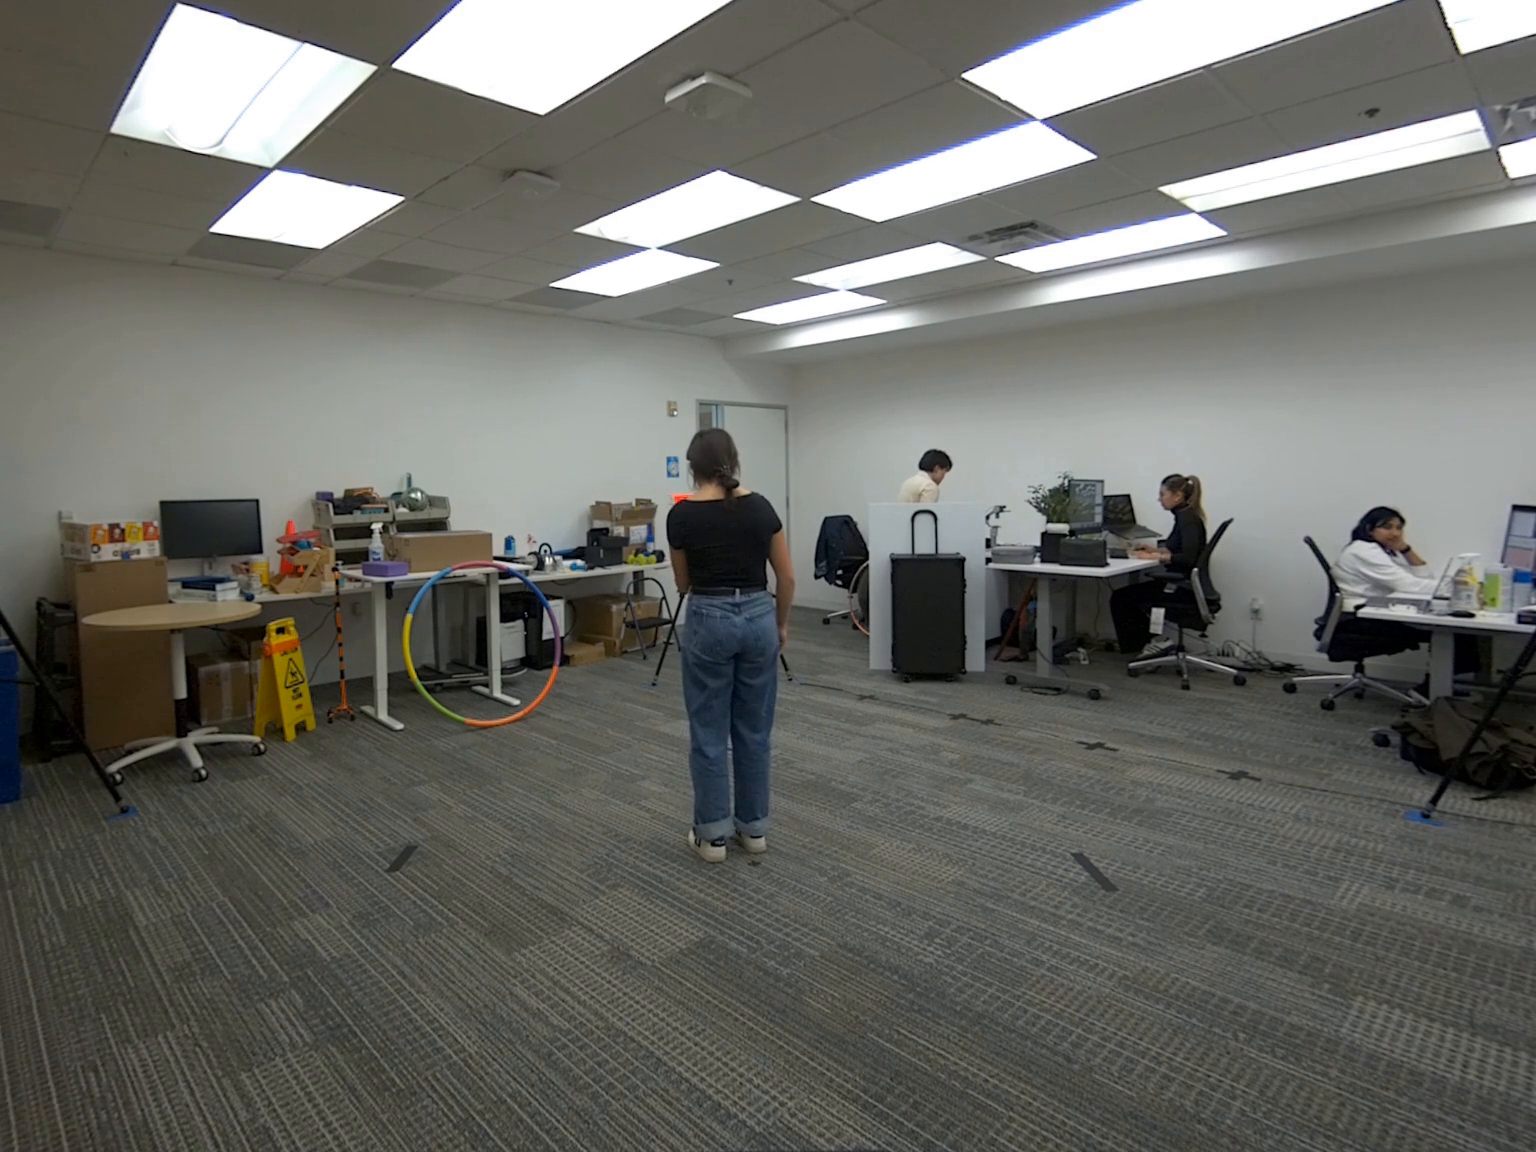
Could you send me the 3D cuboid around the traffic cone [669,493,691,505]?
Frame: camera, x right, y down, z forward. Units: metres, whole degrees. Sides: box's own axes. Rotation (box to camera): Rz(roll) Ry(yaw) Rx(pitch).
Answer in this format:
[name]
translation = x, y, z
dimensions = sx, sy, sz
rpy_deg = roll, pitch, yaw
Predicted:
[traffic cone]
translation = -0.295, -0.142, 3.543
dimensions = 0.205, 0.380, 0.205
rpy_deg = 2, 9, 6
